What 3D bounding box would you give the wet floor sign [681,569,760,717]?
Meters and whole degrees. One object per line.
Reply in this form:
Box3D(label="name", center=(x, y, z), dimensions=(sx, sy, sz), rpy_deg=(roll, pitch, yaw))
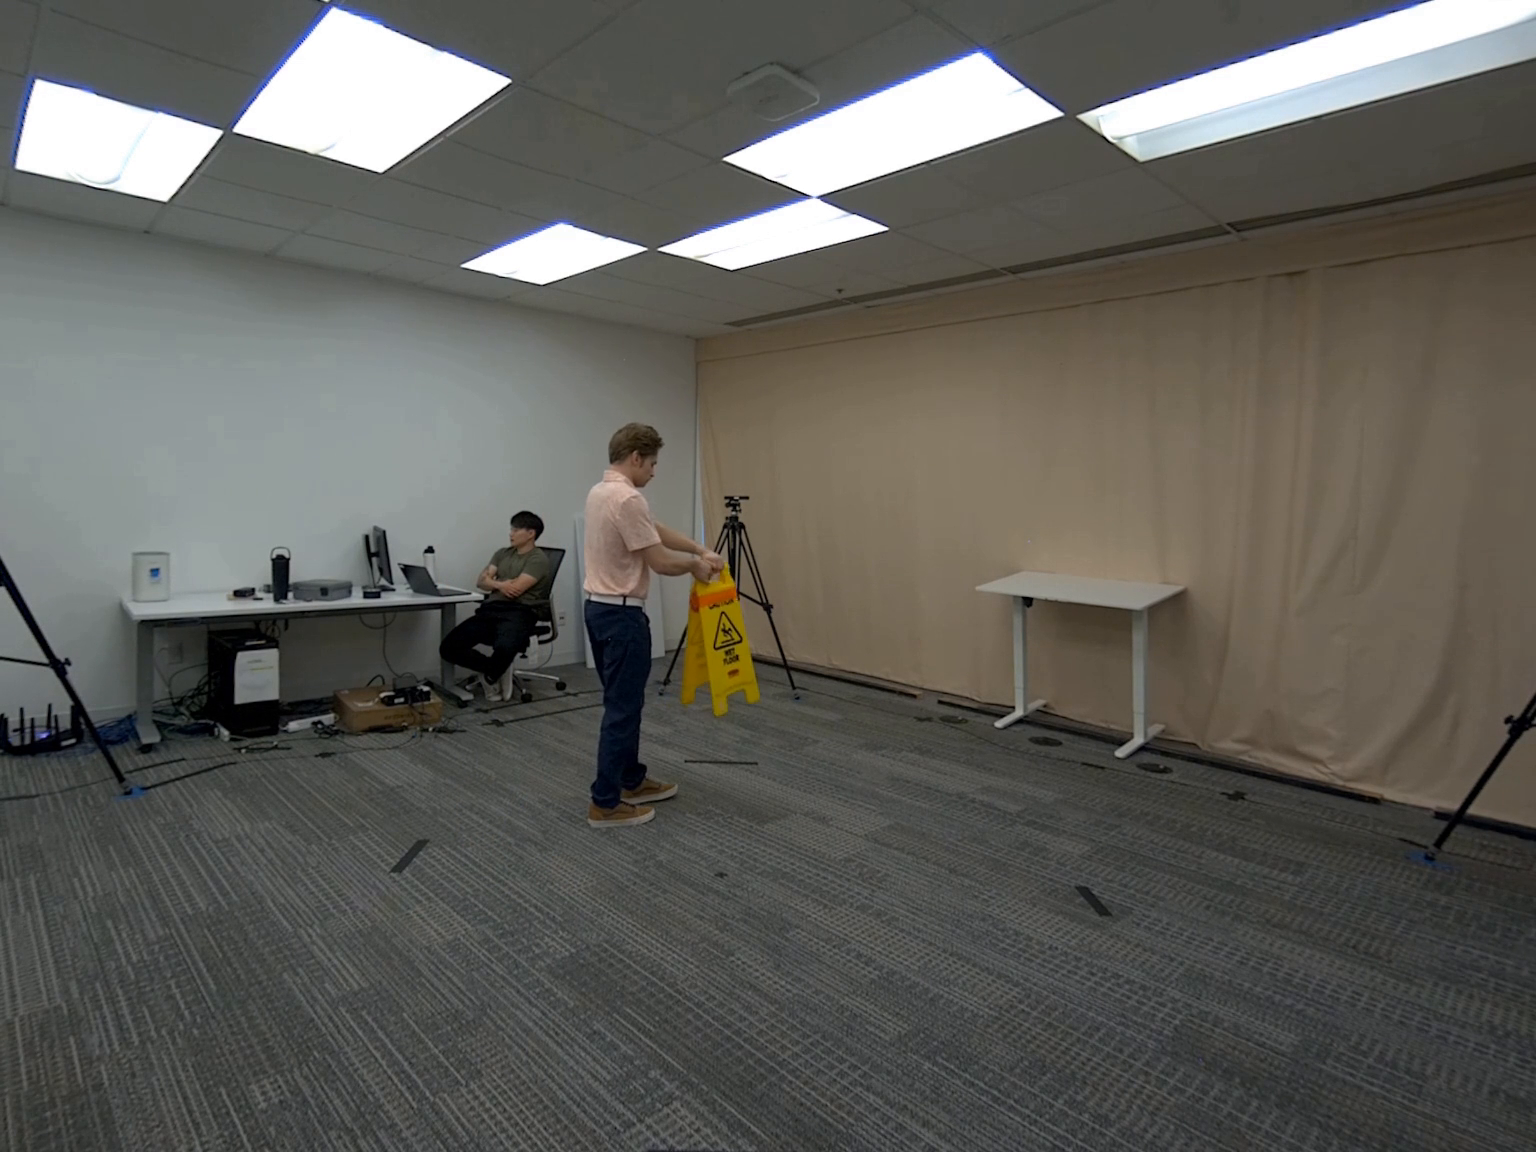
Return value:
Box3D(label="wet floor sign", center=(-0.252, 0.270, 3.833), dimensions=(0.277, 0.642, 0.297), rpy_deg=(-11, 11, -44))
